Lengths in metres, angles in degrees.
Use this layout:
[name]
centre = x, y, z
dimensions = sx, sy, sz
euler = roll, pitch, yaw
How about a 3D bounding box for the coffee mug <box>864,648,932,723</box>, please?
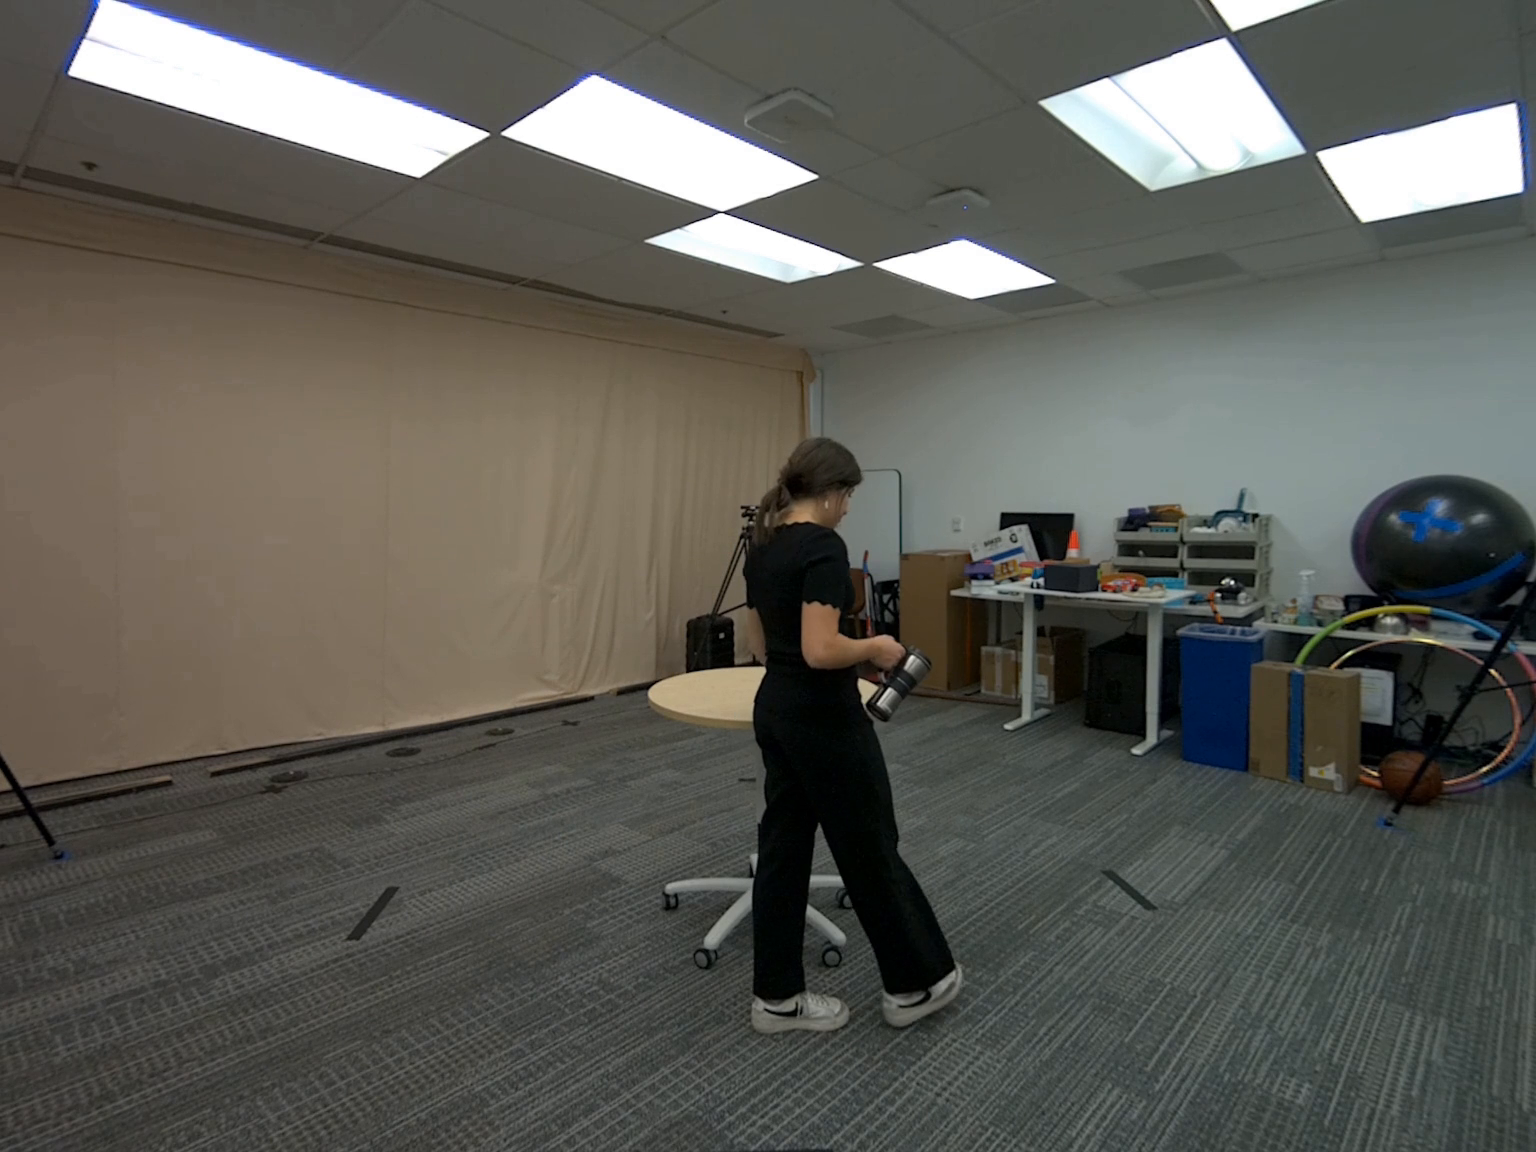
[coffee mug]
centre = 0.341, 0.290, 2.212
dimensions = 0.125, 0.203, 0.086
euler = 46, 0, 21
